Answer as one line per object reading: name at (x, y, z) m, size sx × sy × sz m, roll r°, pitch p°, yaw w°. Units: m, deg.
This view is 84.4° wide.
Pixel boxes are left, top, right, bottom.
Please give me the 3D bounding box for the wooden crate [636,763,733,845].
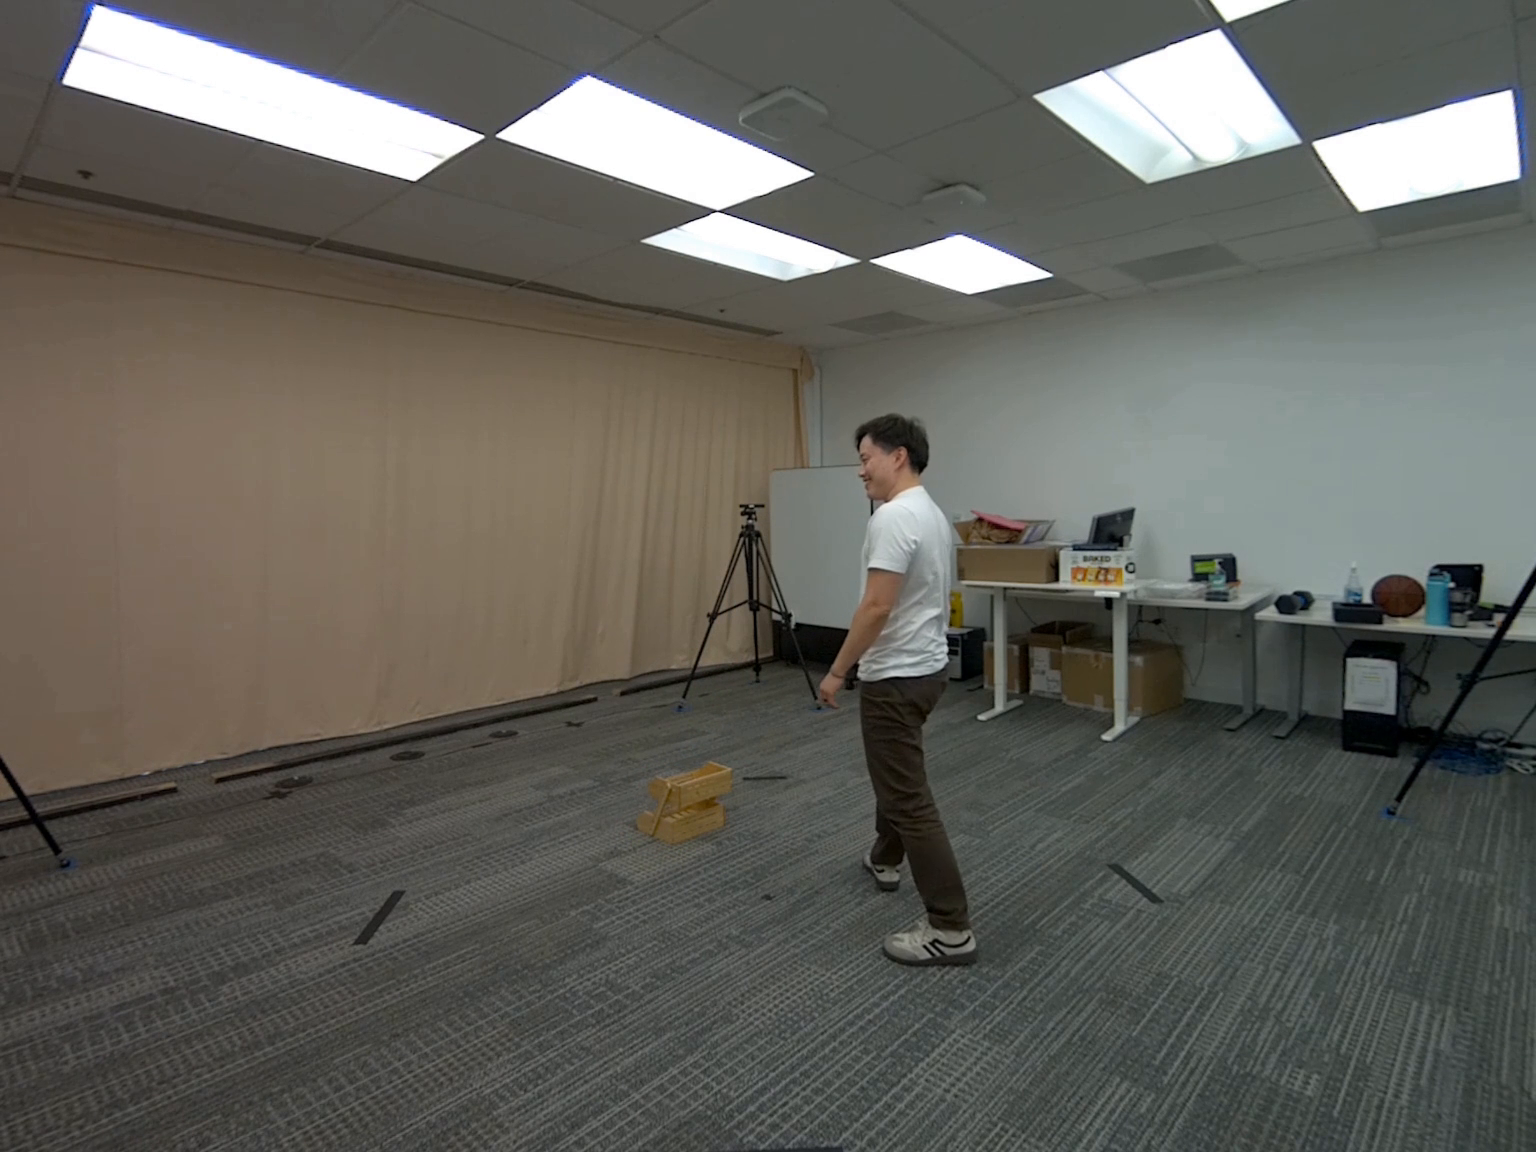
wooden crate at (-0.365, 0.960, 3.637) m, size 0.314 × 0.272 × 0.312 m, roll -5°, pitch 6°, yaw -44°
